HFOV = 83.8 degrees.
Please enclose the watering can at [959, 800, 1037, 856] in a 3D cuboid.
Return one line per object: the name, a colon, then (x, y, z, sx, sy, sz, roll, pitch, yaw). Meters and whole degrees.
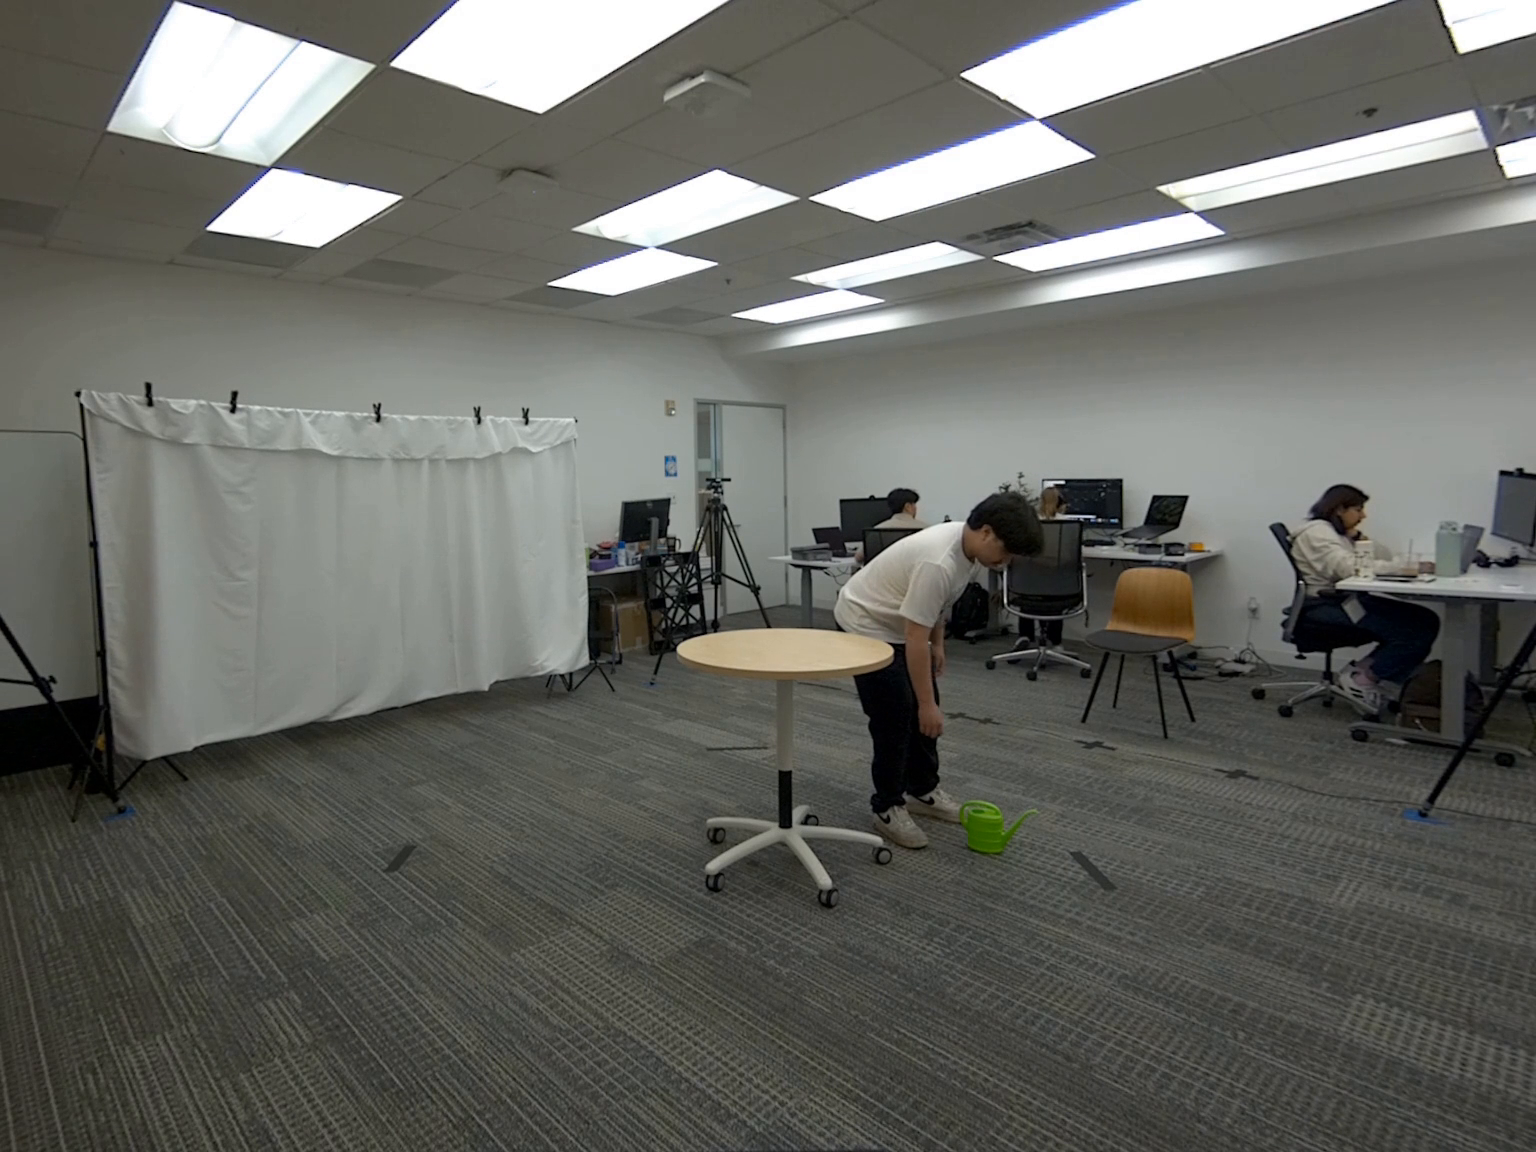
watering can: (0.856, 0.937, 3.157, 0.286, 0.176, 0.095, 2, 5, 39)
